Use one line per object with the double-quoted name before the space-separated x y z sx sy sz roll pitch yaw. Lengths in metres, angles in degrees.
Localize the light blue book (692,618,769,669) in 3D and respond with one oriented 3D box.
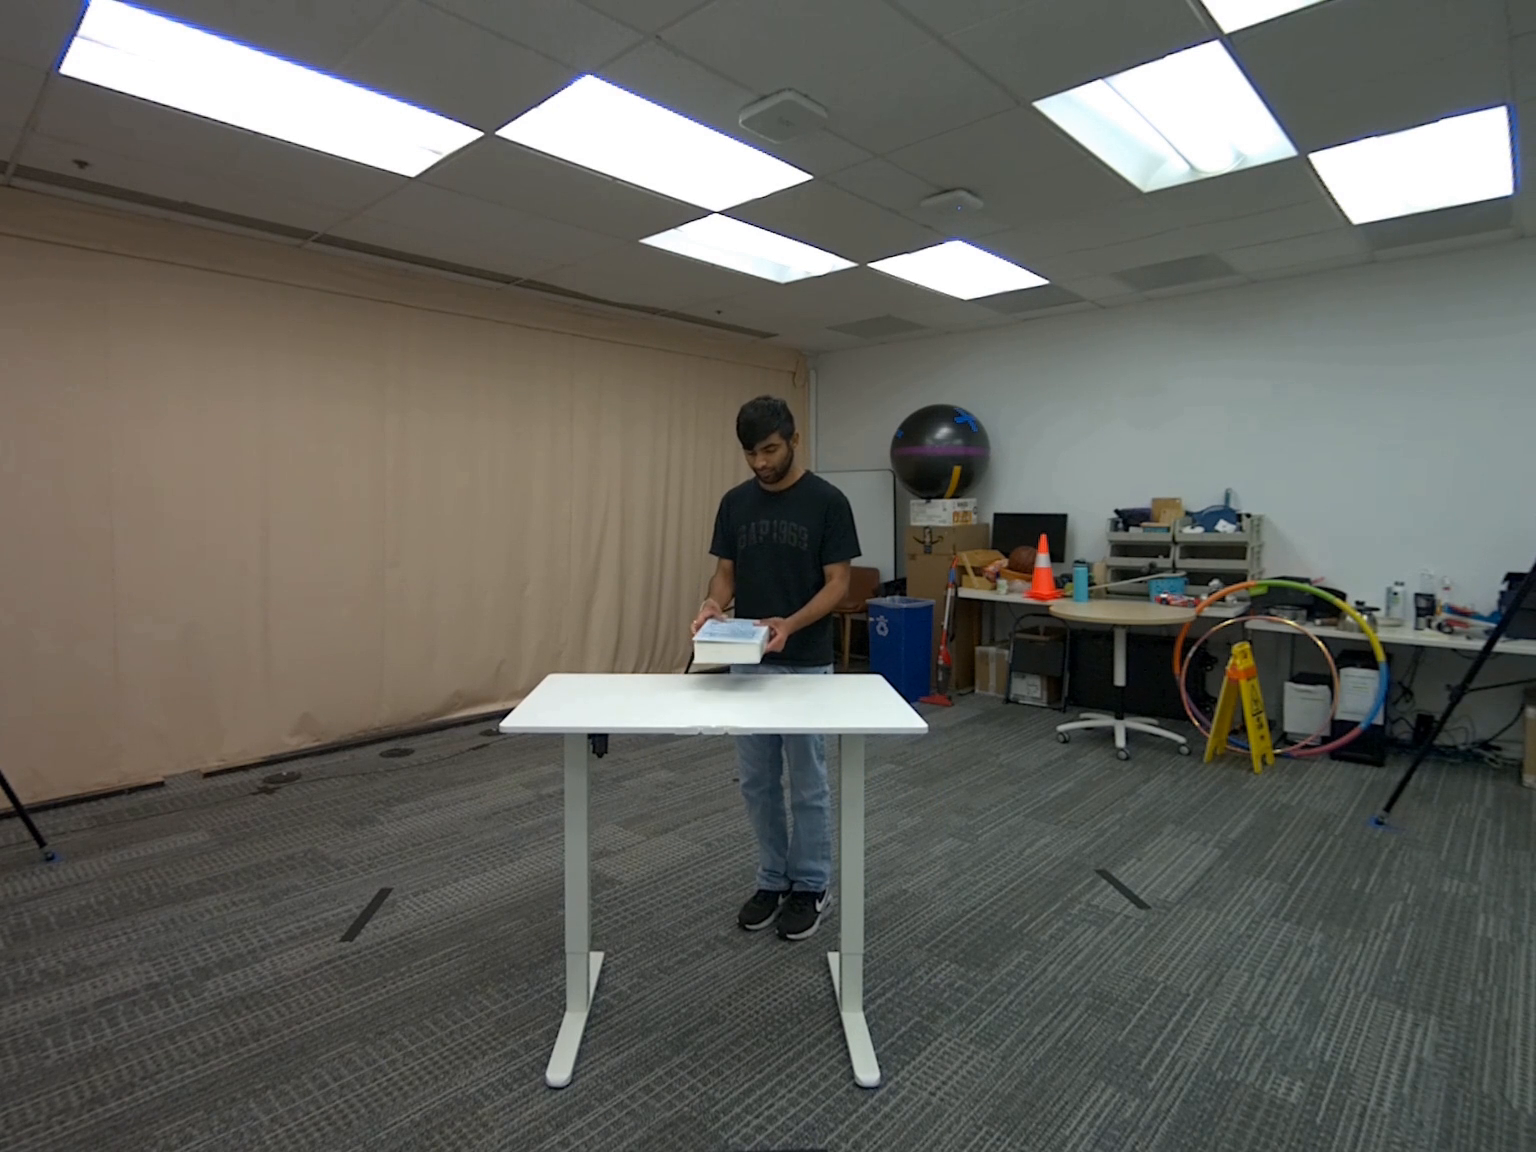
"light blue book" -0.100 0.182 2.405 0.193 0.059 0.260 2 9 7
